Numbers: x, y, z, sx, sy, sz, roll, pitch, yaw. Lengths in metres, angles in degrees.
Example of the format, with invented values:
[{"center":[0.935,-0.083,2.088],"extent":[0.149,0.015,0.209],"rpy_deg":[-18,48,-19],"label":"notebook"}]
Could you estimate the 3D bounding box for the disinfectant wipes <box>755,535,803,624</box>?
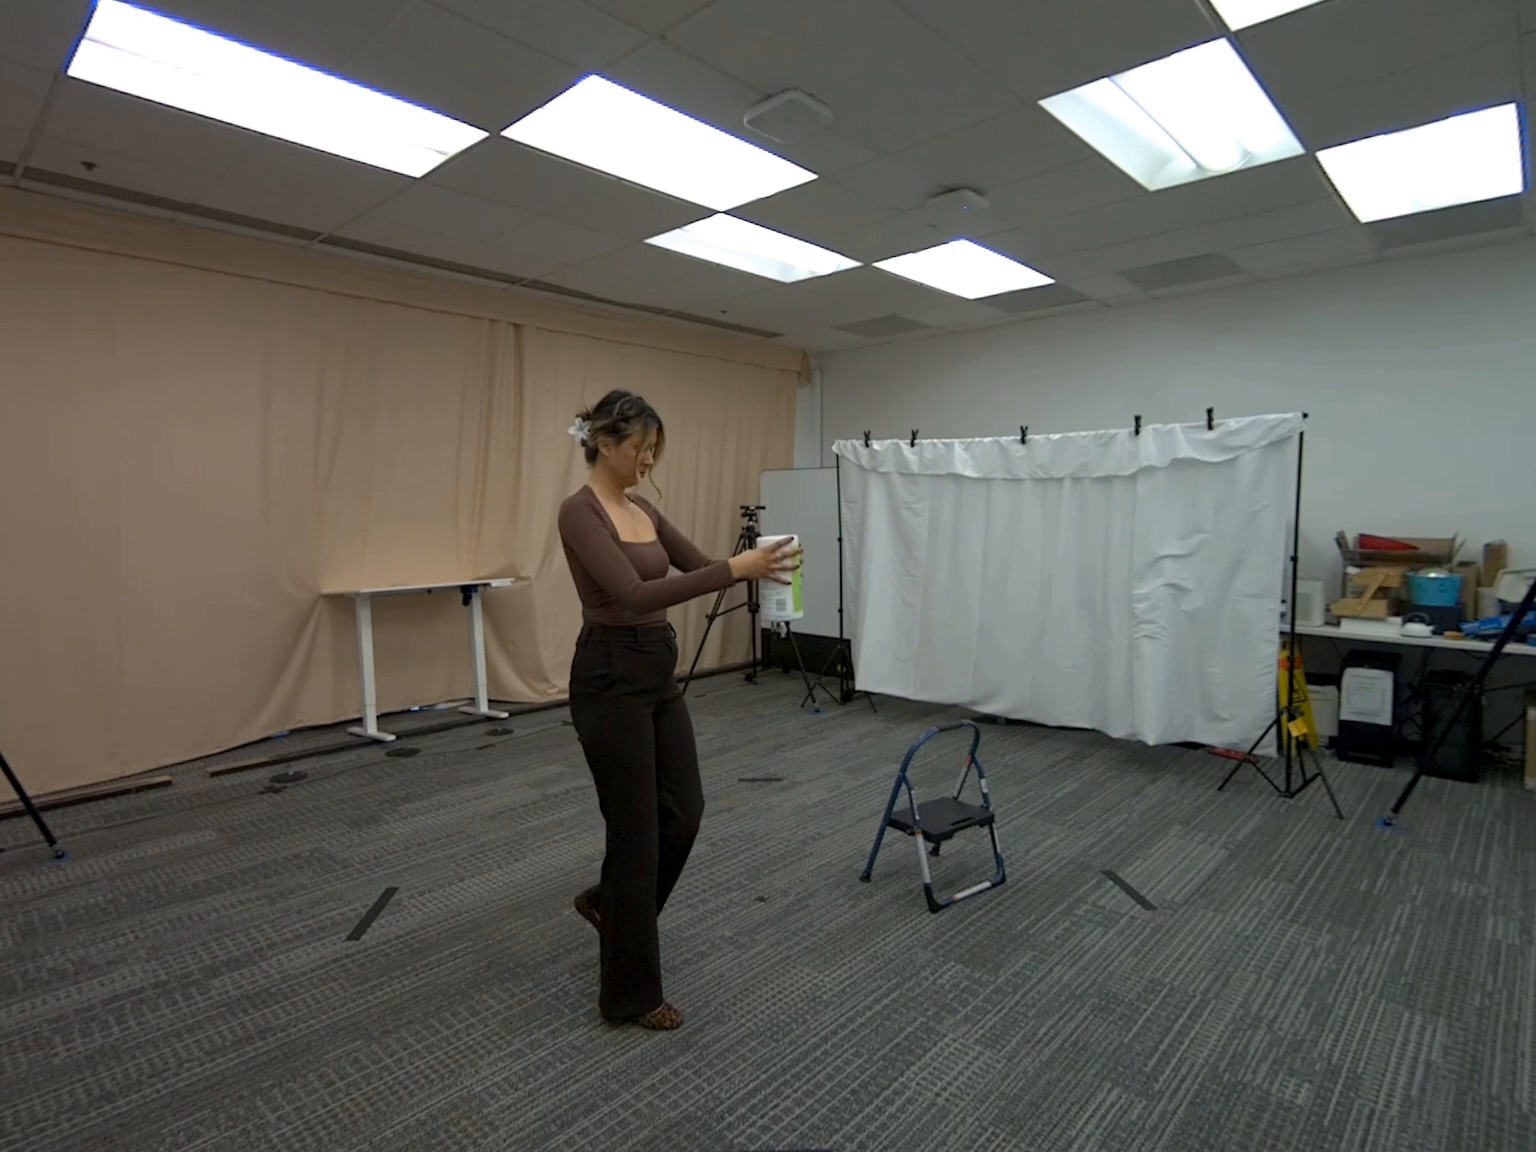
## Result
[{"center":[0.024,0.006,2.160],"extent":[0.118,0.217,0.118],"rpy_deg":[-2,3,-2],"label":"disinfectant wipes"}]
